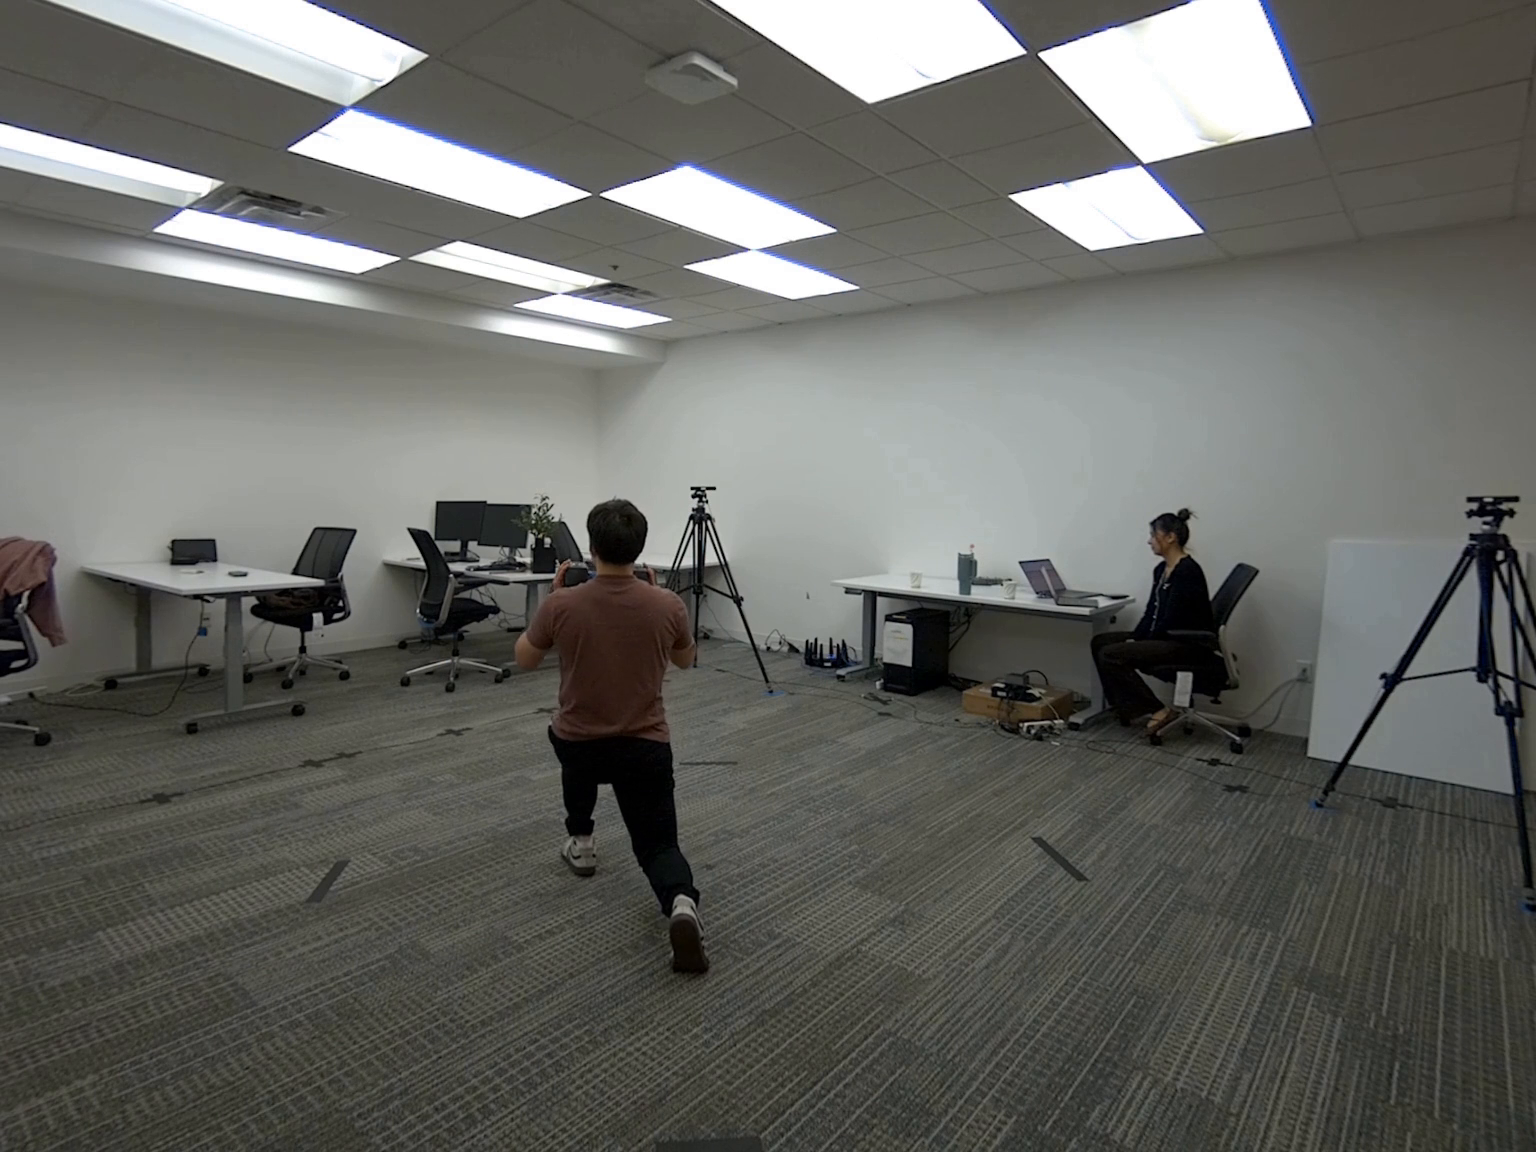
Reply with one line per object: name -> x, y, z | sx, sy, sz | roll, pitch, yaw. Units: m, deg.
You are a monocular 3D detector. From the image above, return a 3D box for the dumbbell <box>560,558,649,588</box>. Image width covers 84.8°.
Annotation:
dumbbell -> -0.579, 0.018, 2.953 | 0.290, 0.107, 0.126 | 4, 18, -11
